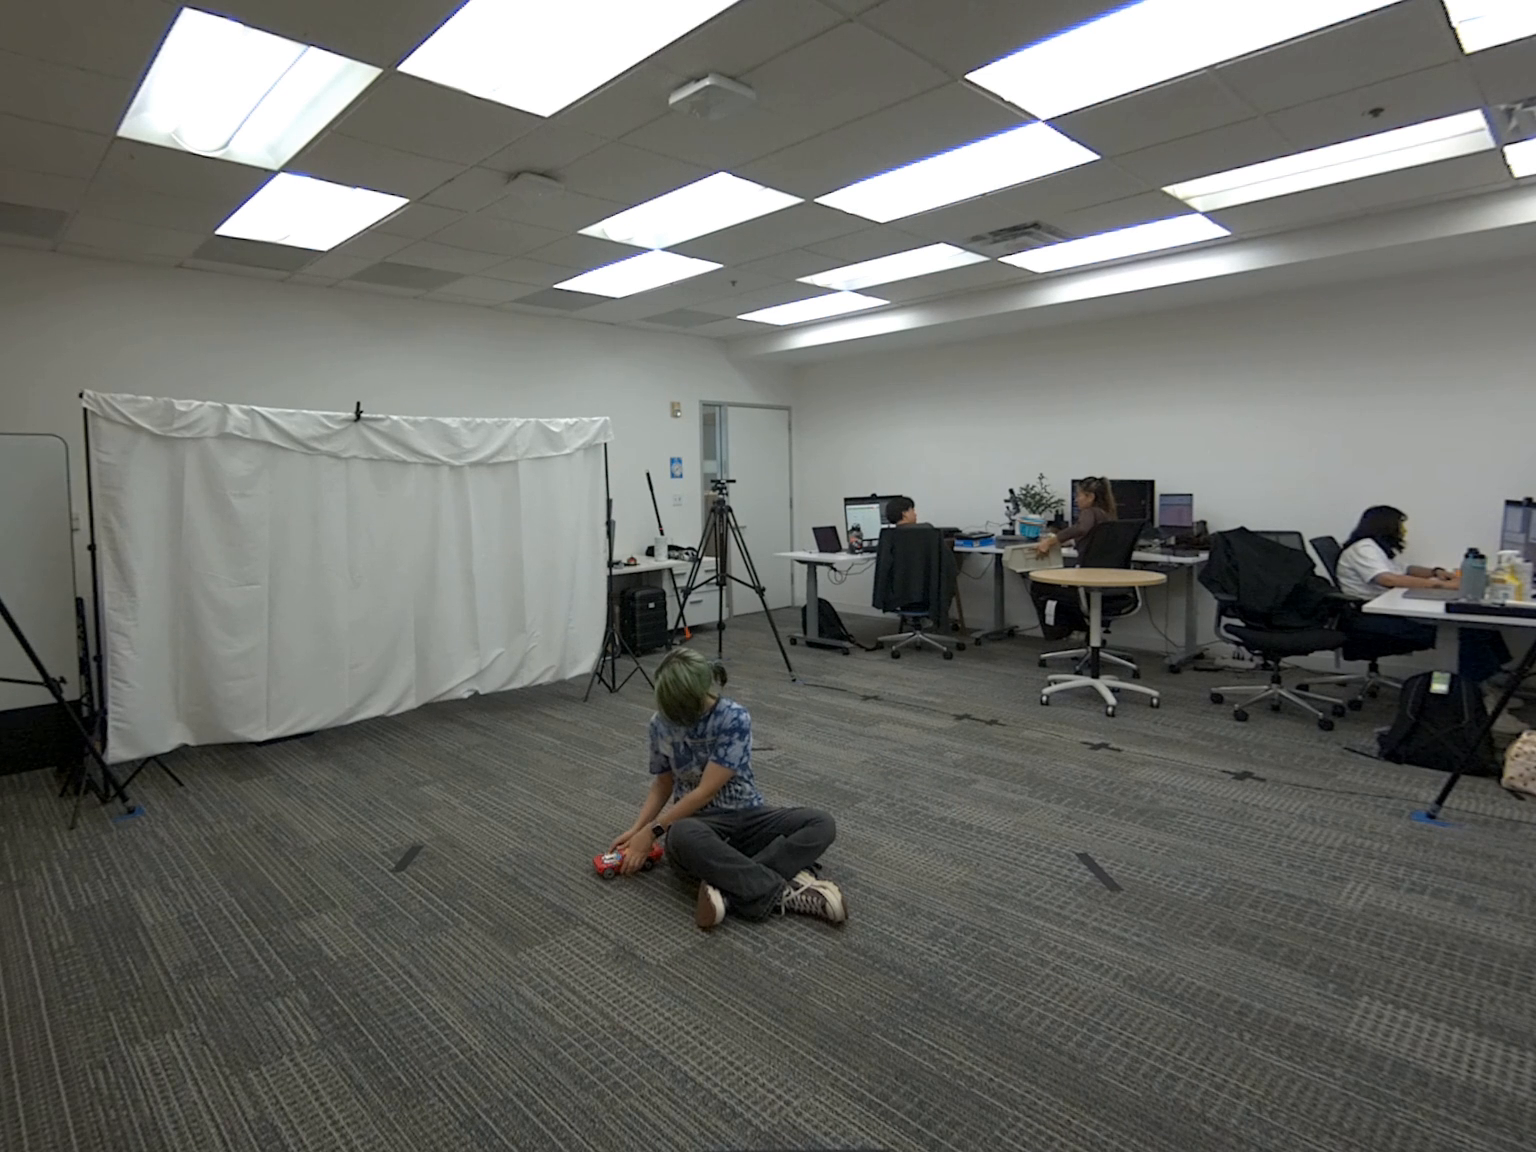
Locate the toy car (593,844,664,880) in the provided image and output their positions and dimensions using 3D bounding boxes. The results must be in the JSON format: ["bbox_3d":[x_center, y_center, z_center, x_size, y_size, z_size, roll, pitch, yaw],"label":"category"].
[{"bbox_3d":[-0.498,1.024,3.089,0.250,0.082,0.133,-14,9,-23],"label":"toy car"}]
